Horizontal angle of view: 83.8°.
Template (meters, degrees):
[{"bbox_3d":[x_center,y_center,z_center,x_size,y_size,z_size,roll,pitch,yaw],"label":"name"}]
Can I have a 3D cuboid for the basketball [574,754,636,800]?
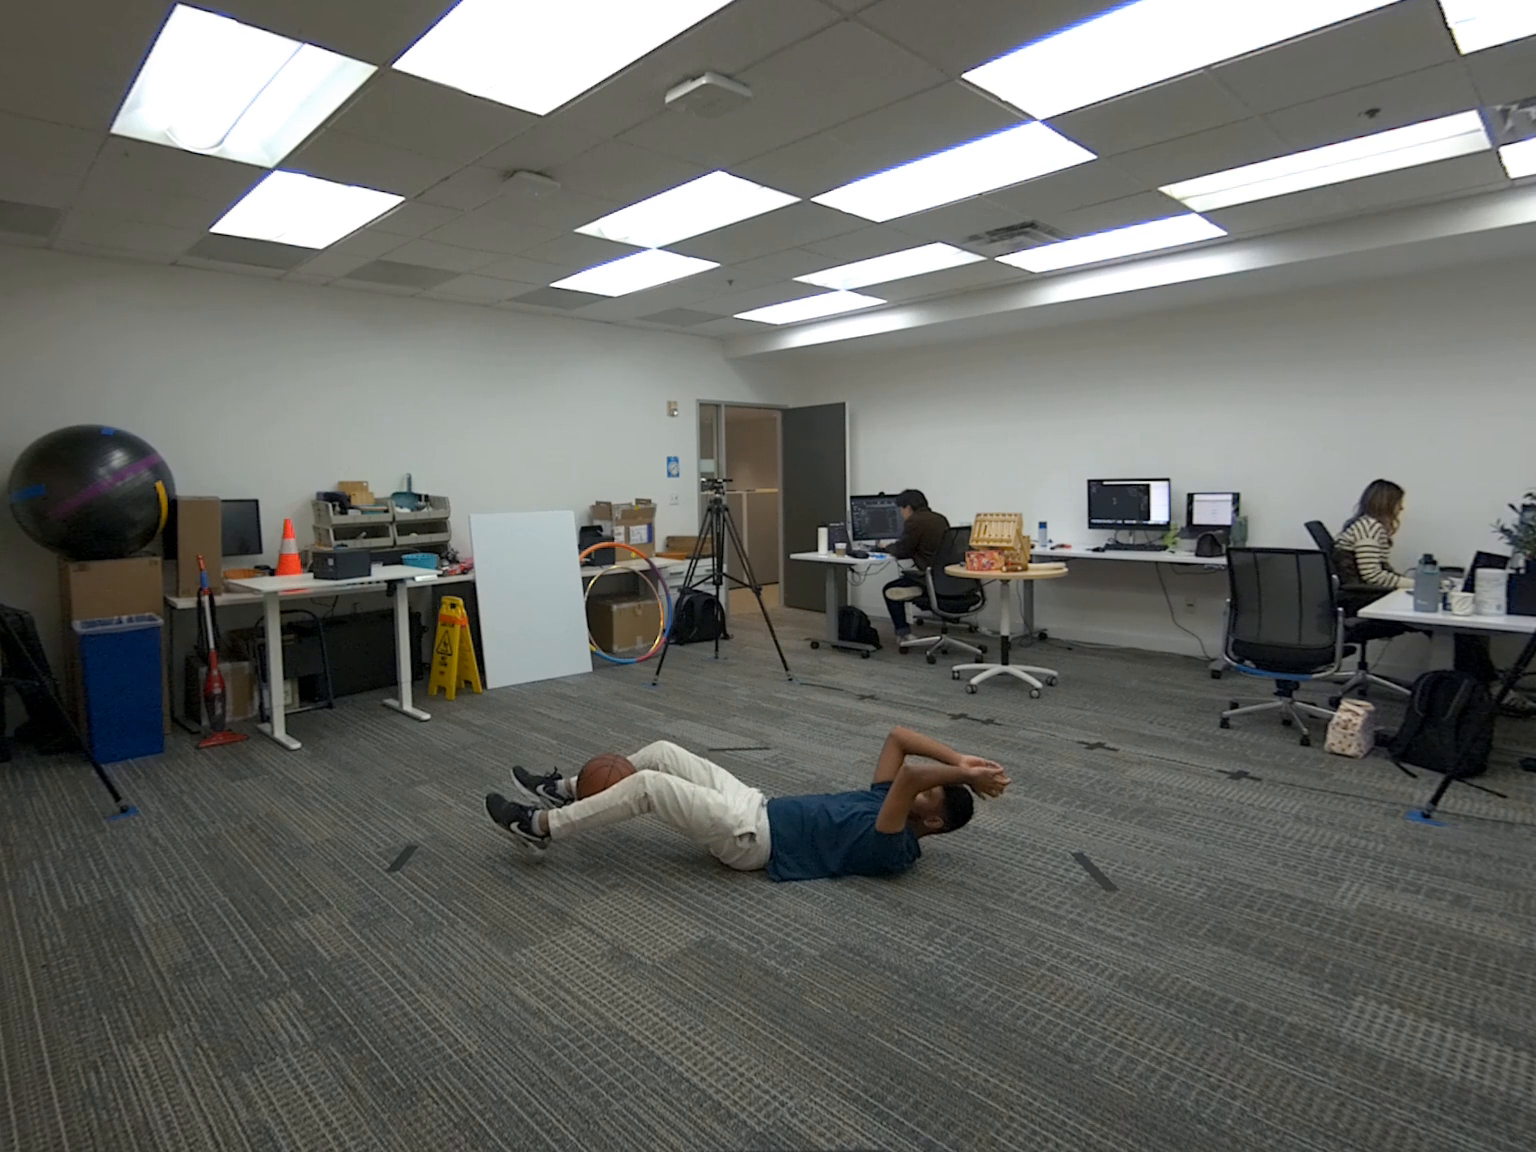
[{"bbox_3d":[-0.602,0.788,3.216,0.236,0.235,0.237,-1,5,-2],"label":"basketball"}]
